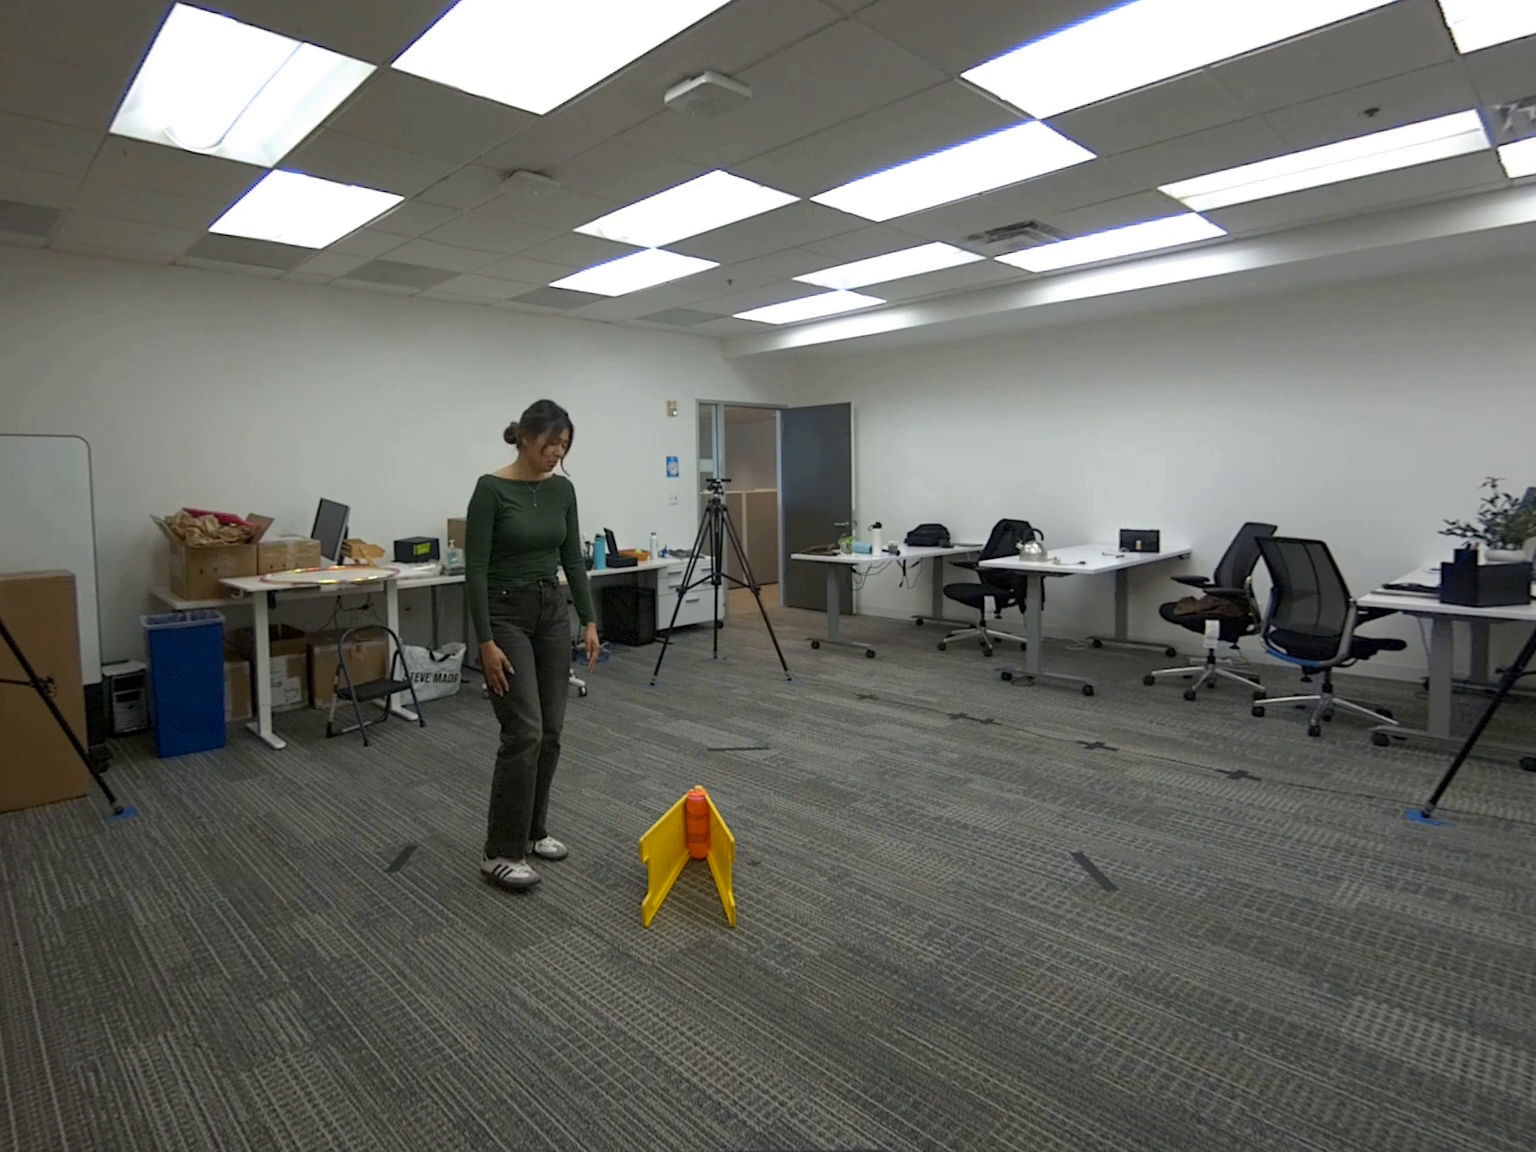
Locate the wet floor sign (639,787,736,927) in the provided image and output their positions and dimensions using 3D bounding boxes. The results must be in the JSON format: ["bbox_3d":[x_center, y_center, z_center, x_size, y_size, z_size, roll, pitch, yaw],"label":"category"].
[{"bbox_3d":[-0.258,0.929,2.986,0.290,0.281,0.647,-1,4,-1],"label":"wet floor sign"}]
